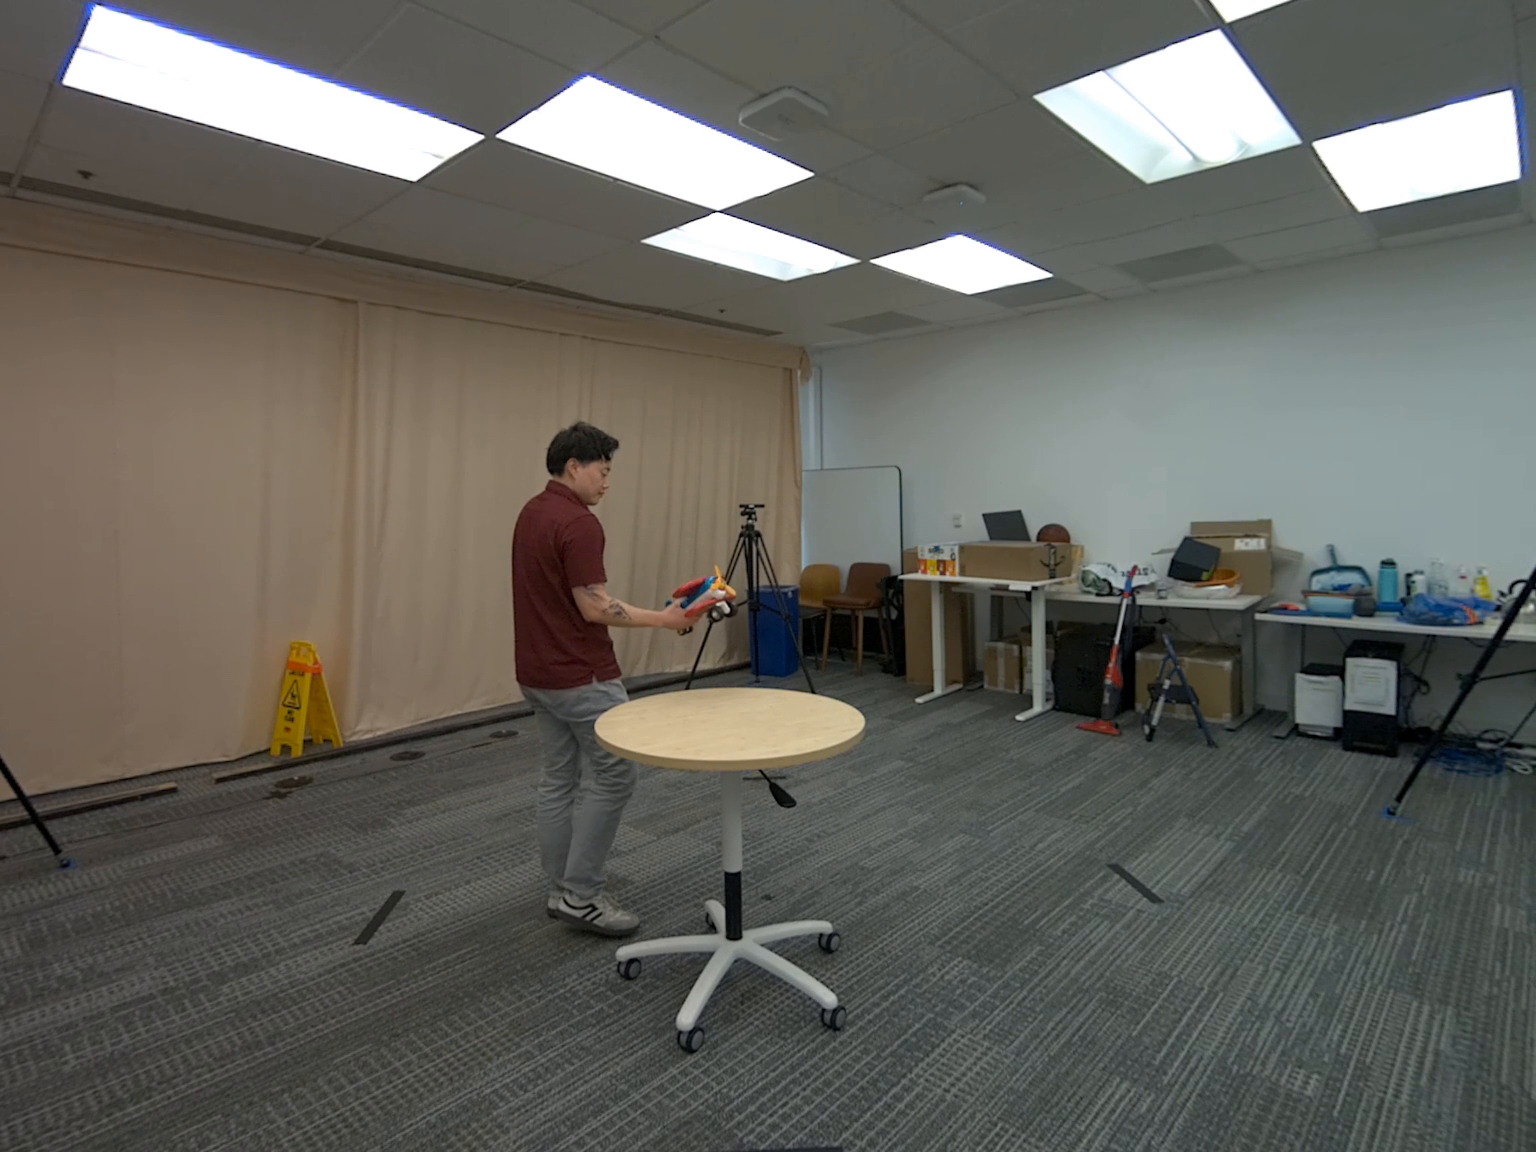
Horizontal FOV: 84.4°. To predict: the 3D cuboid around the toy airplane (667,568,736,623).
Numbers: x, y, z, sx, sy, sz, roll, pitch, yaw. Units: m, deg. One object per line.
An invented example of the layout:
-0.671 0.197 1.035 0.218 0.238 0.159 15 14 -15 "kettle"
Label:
-0.237 0.100 2.808 0.260 0.157 0.249 -20 -3 4 "toy airplane"
